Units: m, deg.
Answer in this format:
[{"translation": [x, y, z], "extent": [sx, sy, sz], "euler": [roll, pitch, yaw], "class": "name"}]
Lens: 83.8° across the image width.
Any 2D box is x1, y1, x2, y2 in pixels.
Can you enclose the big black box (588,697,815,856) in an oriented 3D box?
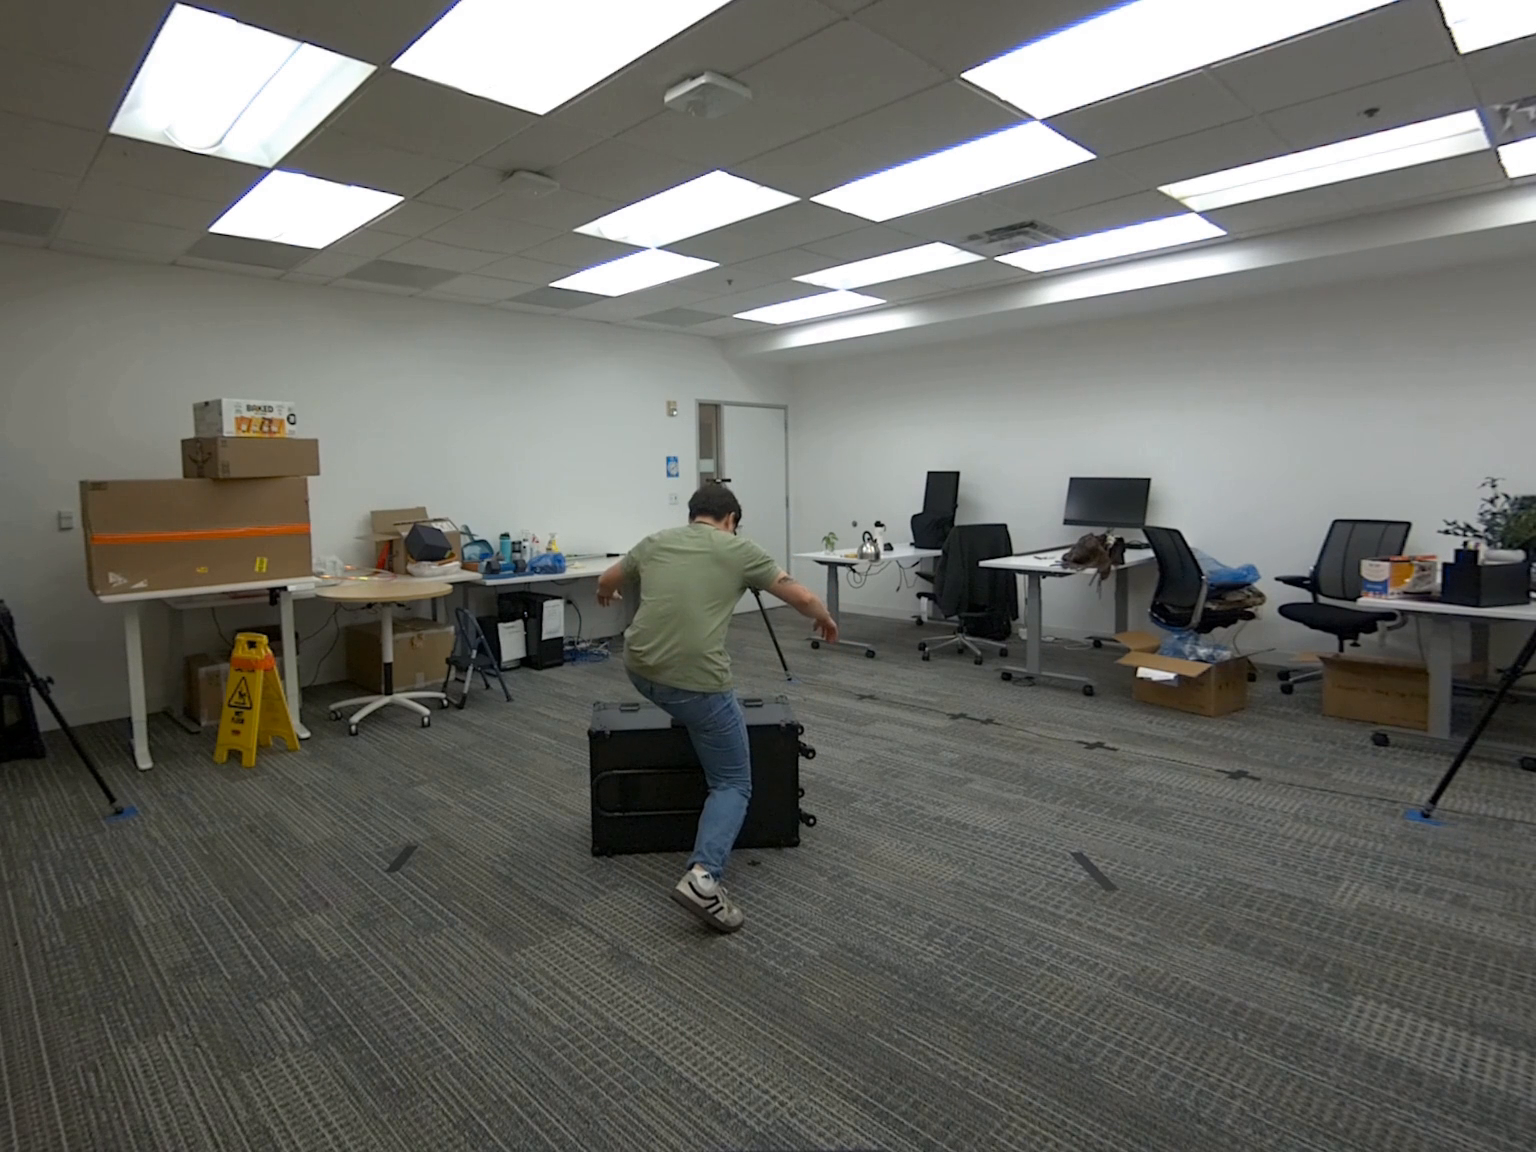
[{"translation": [-0.262, 0.763, 3.346], "extent": [0.857, 0.518, 0.401], "euler": [-1, 7, -5], "class": "big black box"}]
